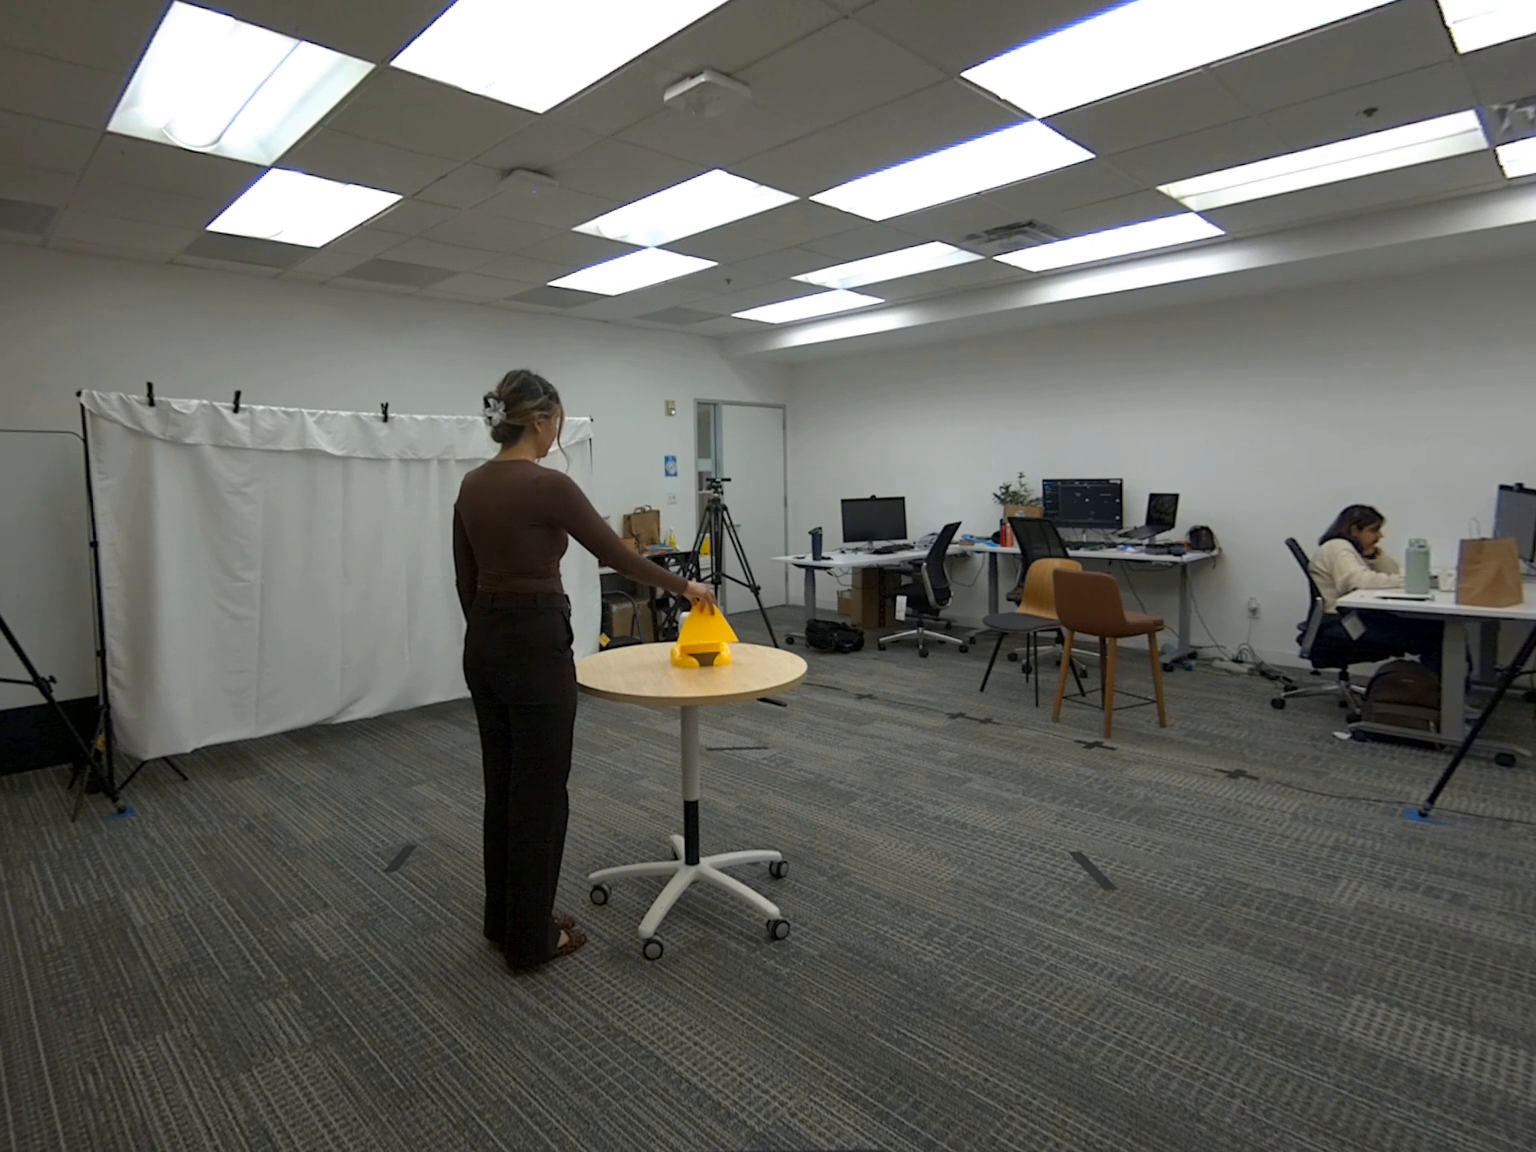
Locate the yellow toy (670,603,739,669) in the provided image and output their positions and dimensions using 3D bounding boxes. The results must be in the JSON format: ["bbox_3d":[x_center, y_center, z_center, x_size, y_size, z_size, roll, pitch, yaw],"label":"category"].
[{"bbox_3d":[-0.214,0.169,2.798,0.202,0.229,0.197,-3,6,-17],"label":"yellow toy"}]
